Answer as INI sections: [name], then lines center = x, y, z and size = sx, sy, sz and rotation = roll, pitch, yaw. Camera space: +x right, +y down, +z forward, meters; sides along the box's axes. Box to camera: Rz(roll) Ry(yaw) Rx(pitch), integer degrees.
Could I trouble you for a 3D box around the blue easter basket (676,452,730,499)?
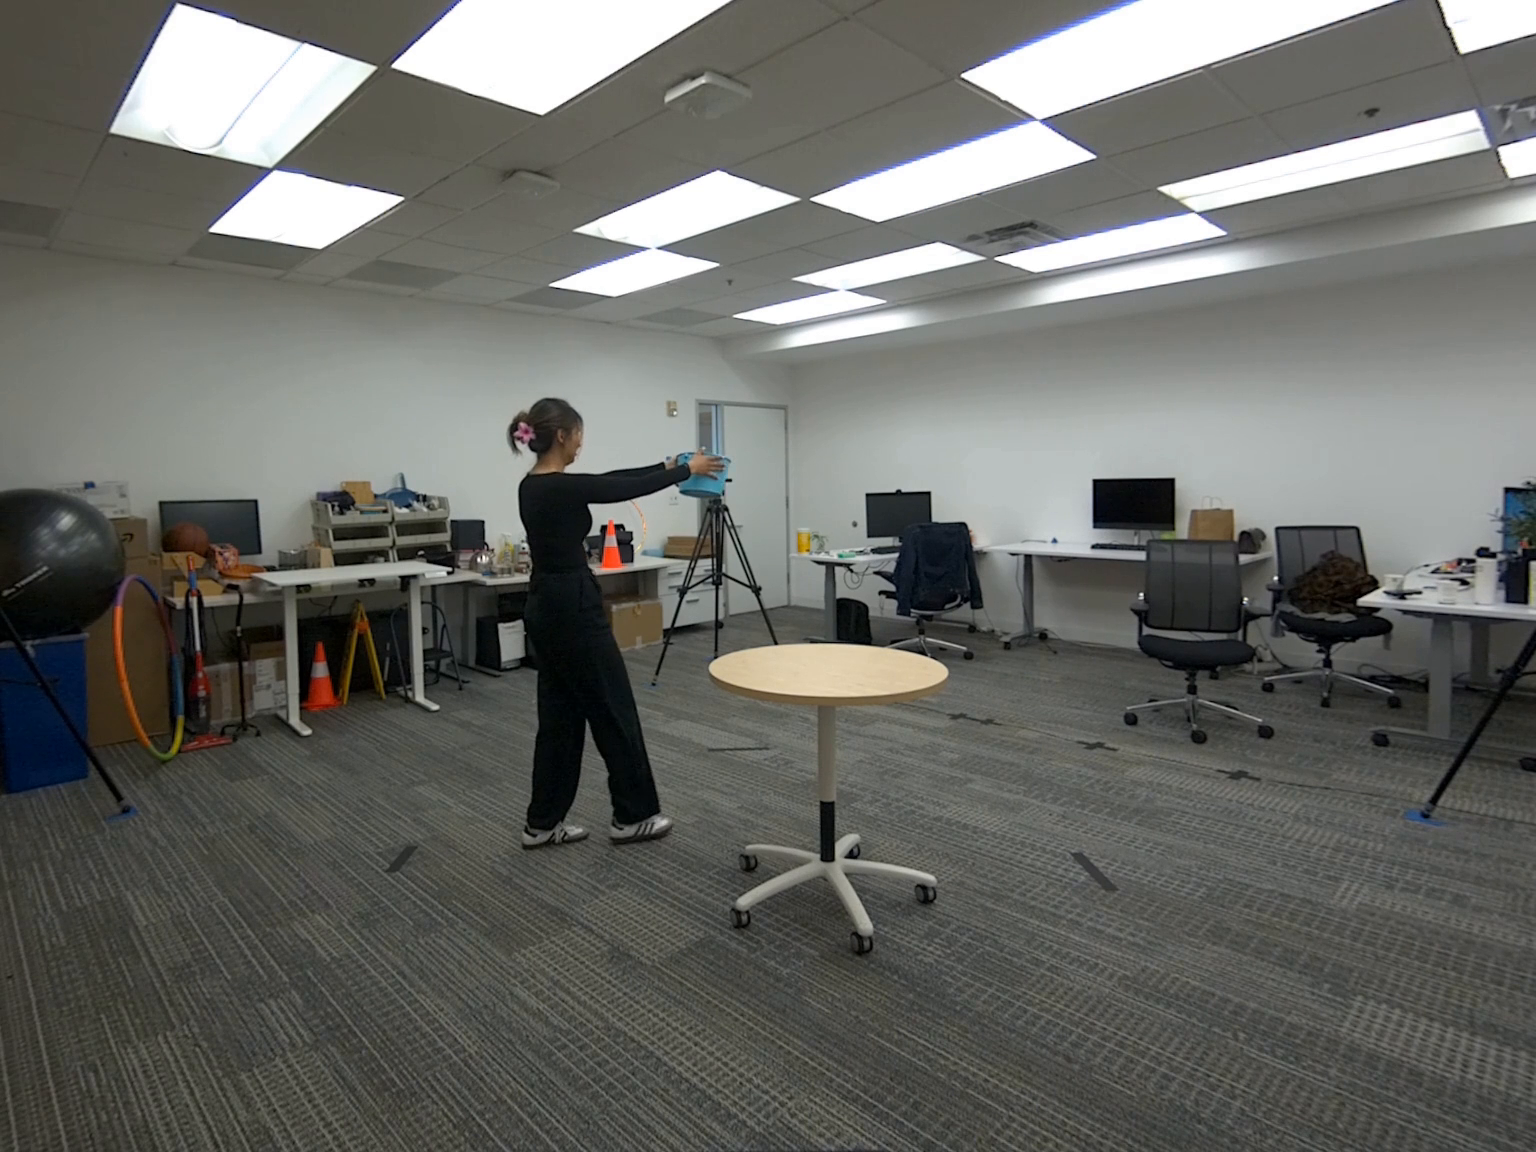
[blue easter basket]
center = -0.281, -0.419, 3.620
size = 0.243, 0.156, 0.243
rotation = 5, -3, -1
